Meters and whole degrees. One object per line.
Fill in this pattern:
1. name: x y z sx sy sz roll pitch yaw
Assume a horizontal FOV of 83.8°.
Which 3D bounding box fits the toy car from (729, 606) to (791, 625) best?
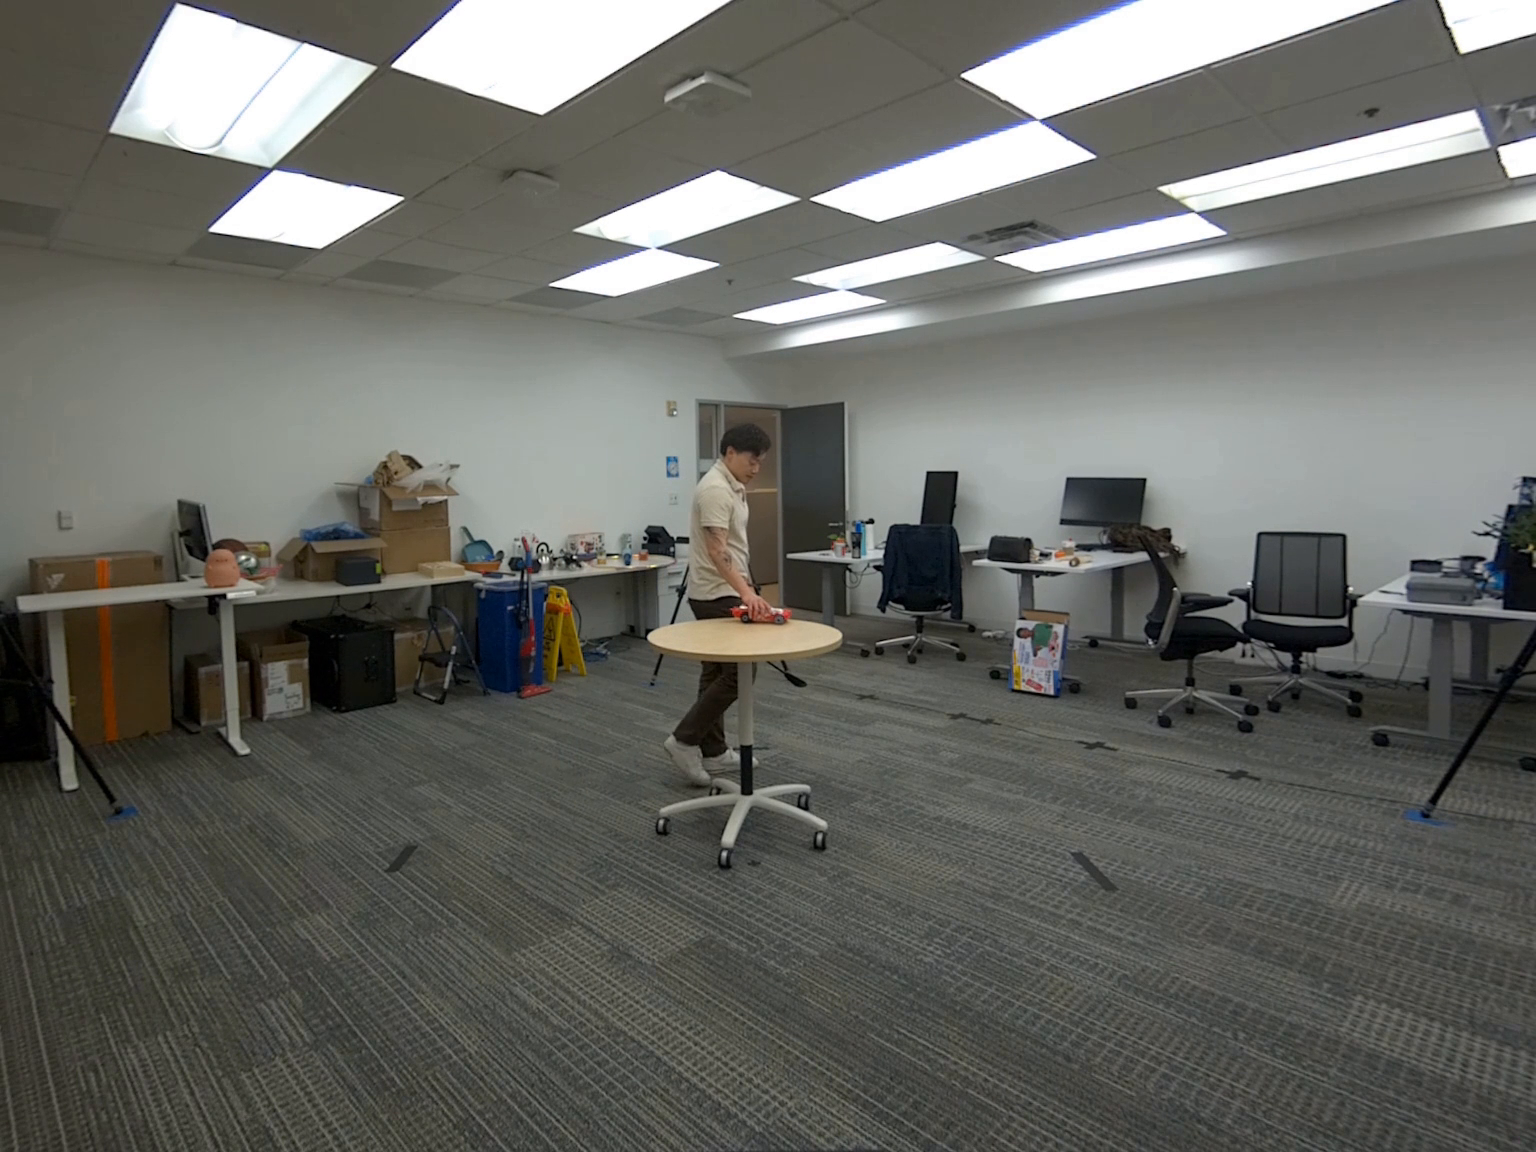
1. toy car: -0.039 0.163 3.644 0.258 0.083 0.129 14 9 13
